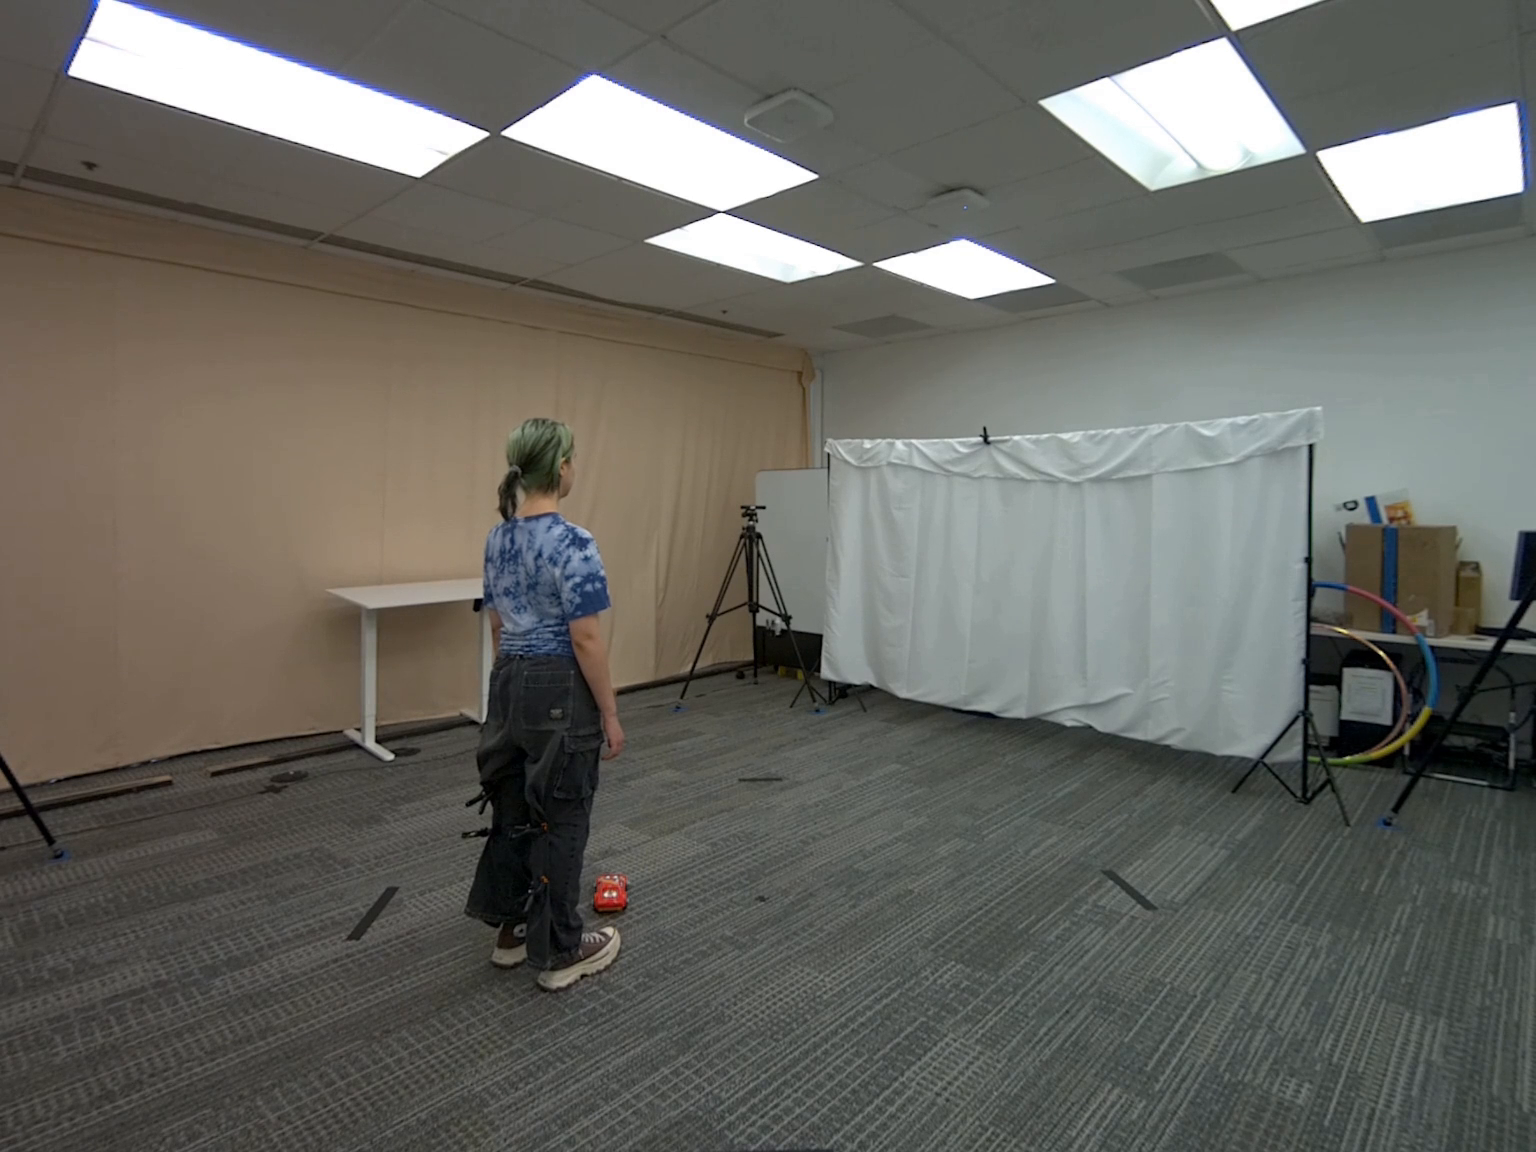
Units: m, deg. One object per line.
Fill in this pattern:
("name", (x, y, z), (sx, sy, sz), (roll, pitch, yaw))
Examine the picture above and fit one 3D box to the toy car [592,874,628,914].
("toy car", (-0.555, 1.119, 2.960), (0.129, 0.083, 0.255), (1, -7, -7))
